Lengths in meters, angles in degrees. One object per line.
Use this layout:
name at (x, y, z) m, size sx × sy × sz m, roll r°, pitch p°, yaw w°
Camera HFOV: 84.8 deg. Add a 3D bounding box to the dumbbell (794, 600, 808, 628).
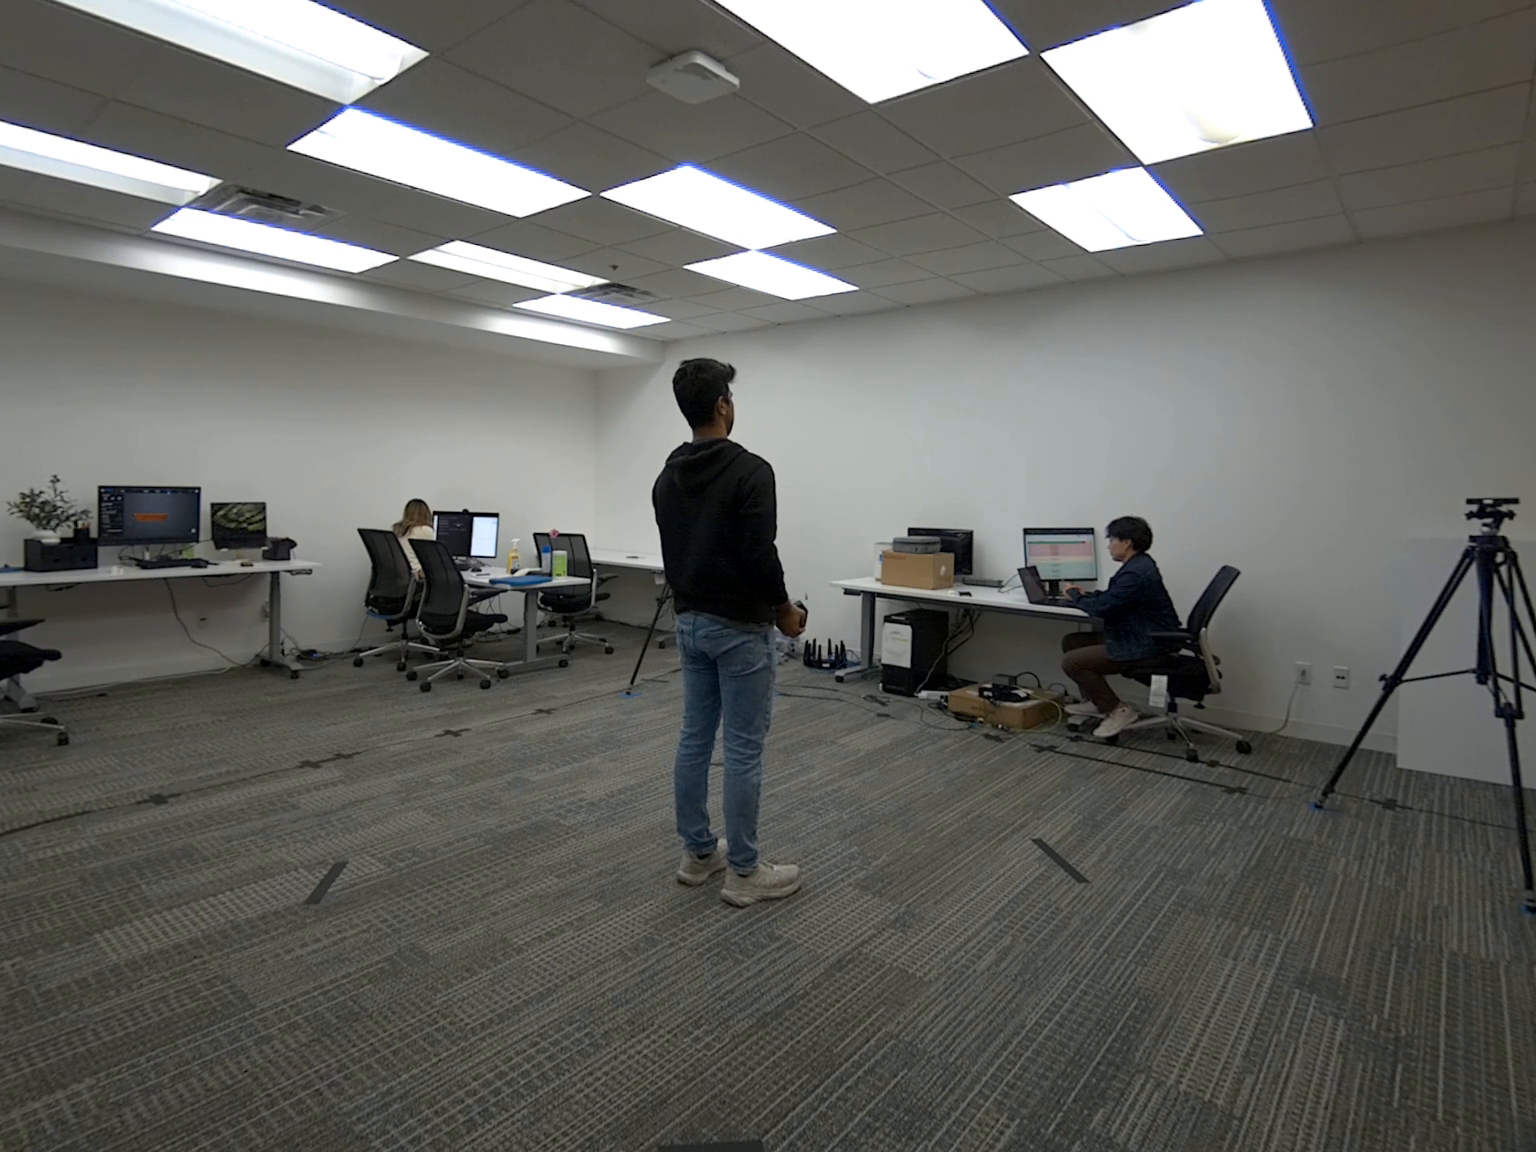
dumbbell at (0.003, 0.105, 3.119) m, size 0.105 × 0.123 × 0.304 m, roll 11°, pitch -3°, yaw -43°
